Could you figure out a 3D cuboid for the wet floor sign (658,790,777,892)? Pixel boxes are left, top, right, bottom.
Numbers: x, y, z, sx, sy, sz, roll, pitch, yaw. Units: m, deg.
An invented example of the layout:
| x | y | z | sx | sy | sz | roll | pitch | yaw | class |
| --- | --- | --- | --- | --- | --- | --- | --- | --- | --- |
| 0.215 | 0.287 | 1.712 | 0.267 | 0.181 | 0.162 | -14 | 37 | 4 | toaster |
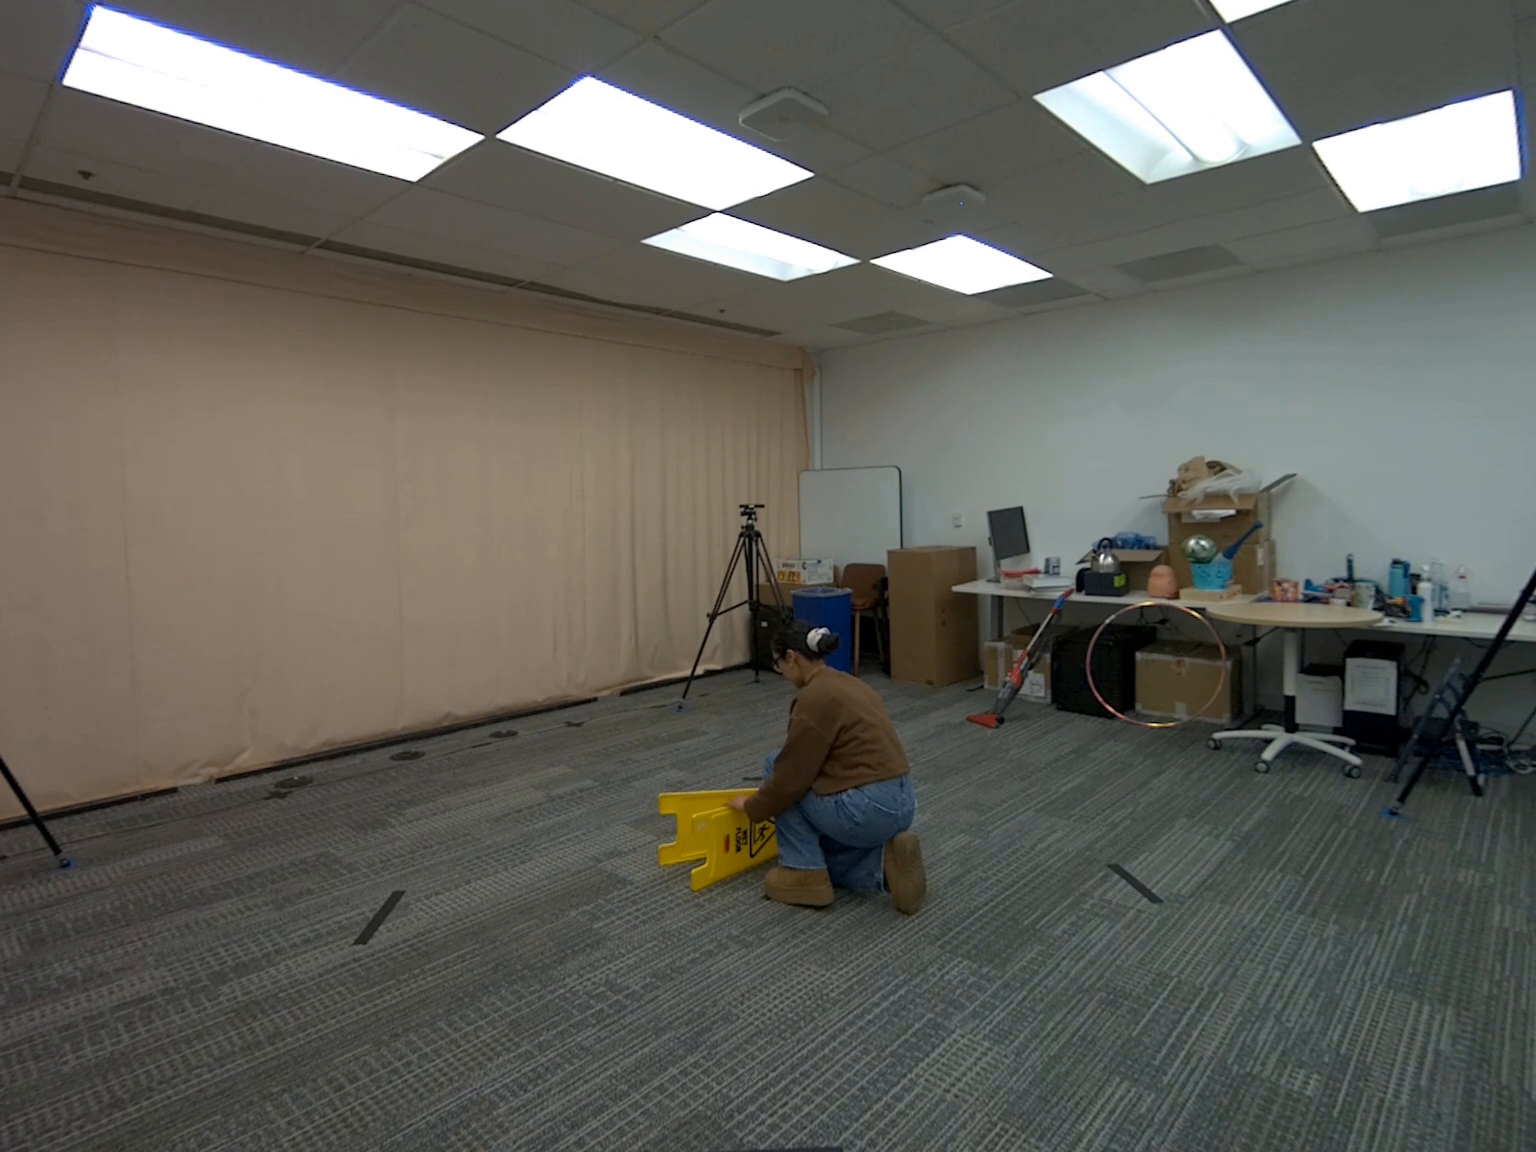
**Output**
| x | y | z | sx | sy | sz | roll | pitch | yaw | class |
| --- | --- | --- | --- | --- | --- | --- | --- | --- | --- |
| -0.083 | 0.981 | 3.315 | 0.628 | 0.282 | 0.298 | -2 | 4 | -33 | wet floor sign |
